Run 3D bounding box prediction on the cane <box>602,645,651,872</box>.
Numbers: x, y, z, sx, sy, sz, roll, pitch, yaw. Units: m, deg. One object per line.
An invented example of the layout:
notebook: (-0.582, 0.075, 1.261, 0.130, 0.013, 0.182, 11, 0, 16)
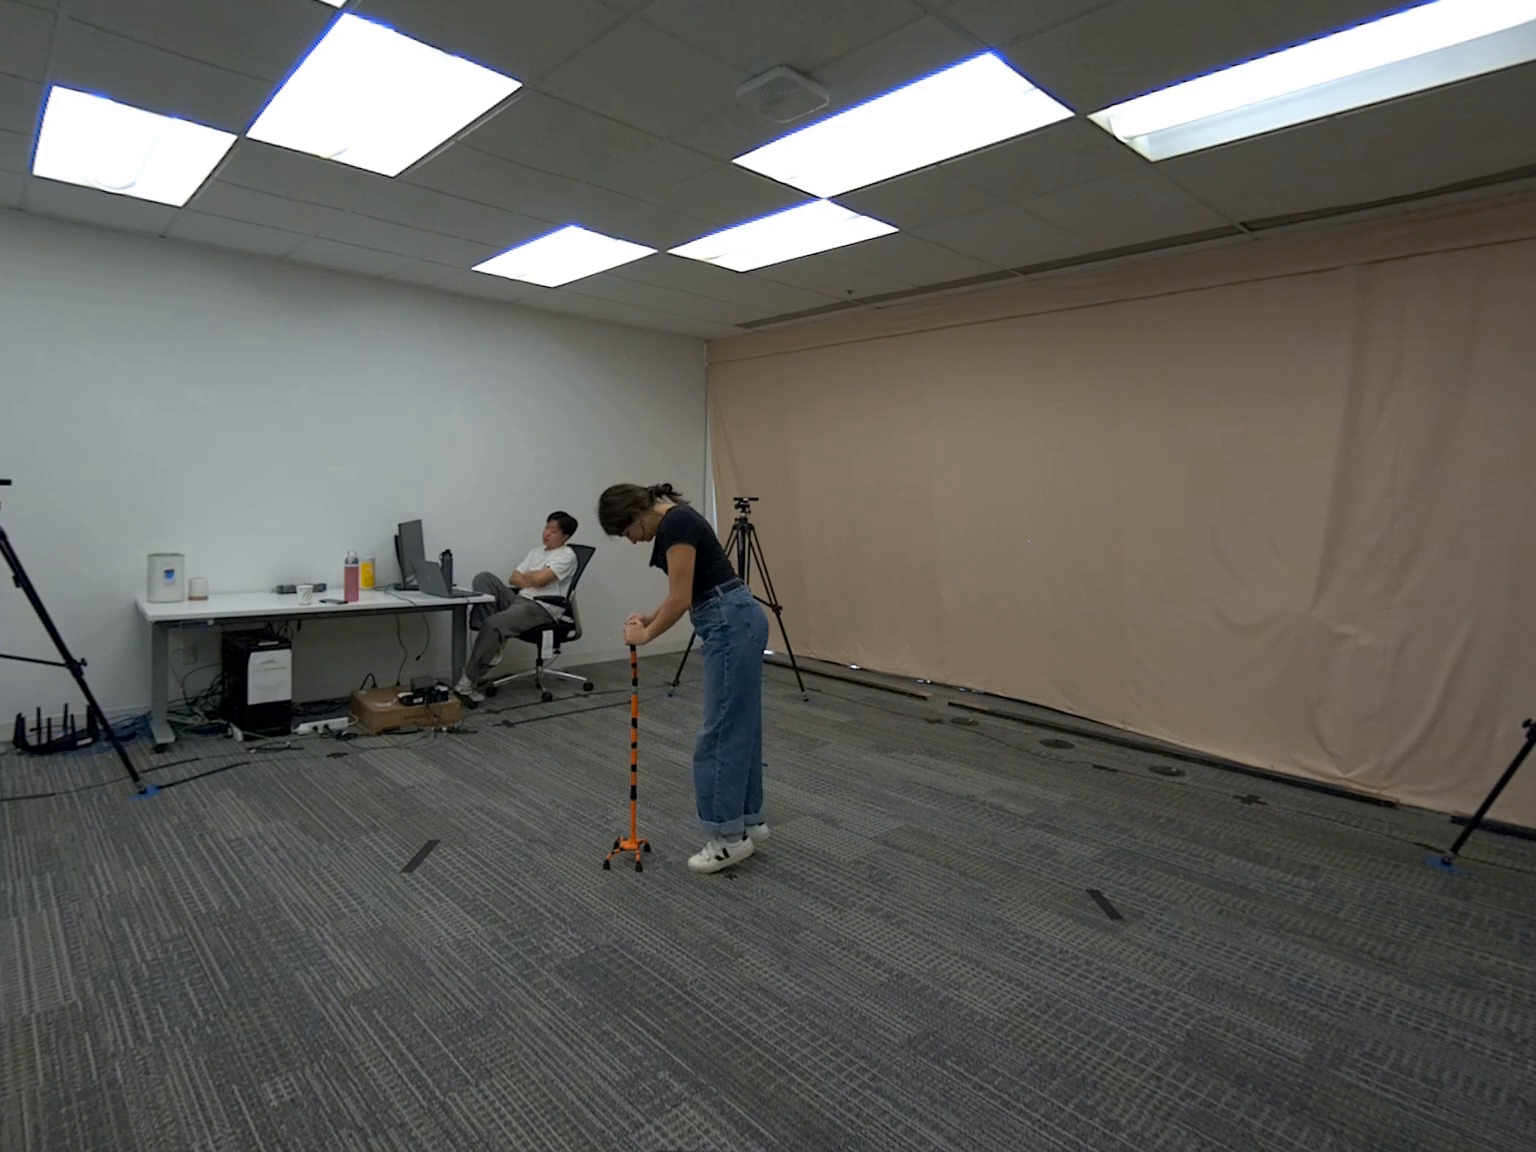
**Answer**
cane: (-0.535, 0.630, 3.208, 0.152, 0.906, 0.206, 1, 3, 2)
